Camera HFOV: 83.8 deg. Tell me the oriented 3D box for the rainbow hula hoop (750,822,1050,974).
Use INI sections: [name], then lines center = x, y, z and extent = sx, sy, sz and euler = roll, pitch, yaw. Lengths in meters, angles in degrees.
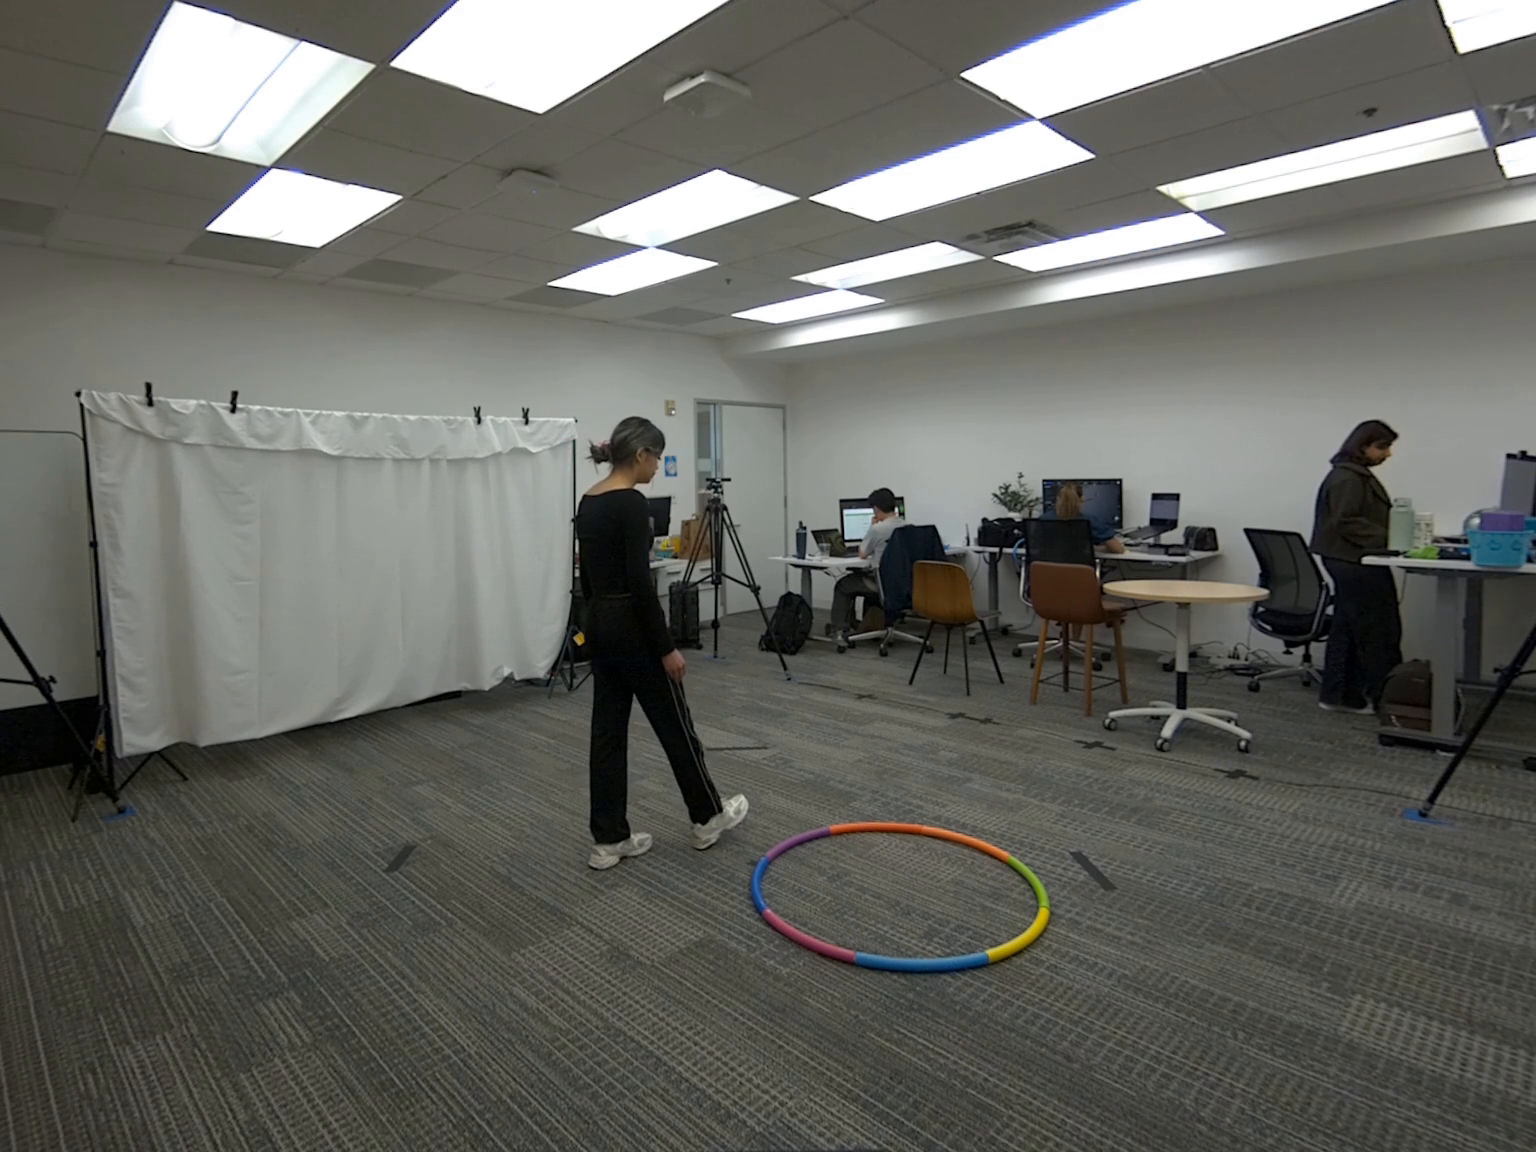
[rainbow hula hoop]
center = 0.426, 1.028, 2.887
extent = 0.978, 0.035, 0.984
euler = -2, 7, -2
